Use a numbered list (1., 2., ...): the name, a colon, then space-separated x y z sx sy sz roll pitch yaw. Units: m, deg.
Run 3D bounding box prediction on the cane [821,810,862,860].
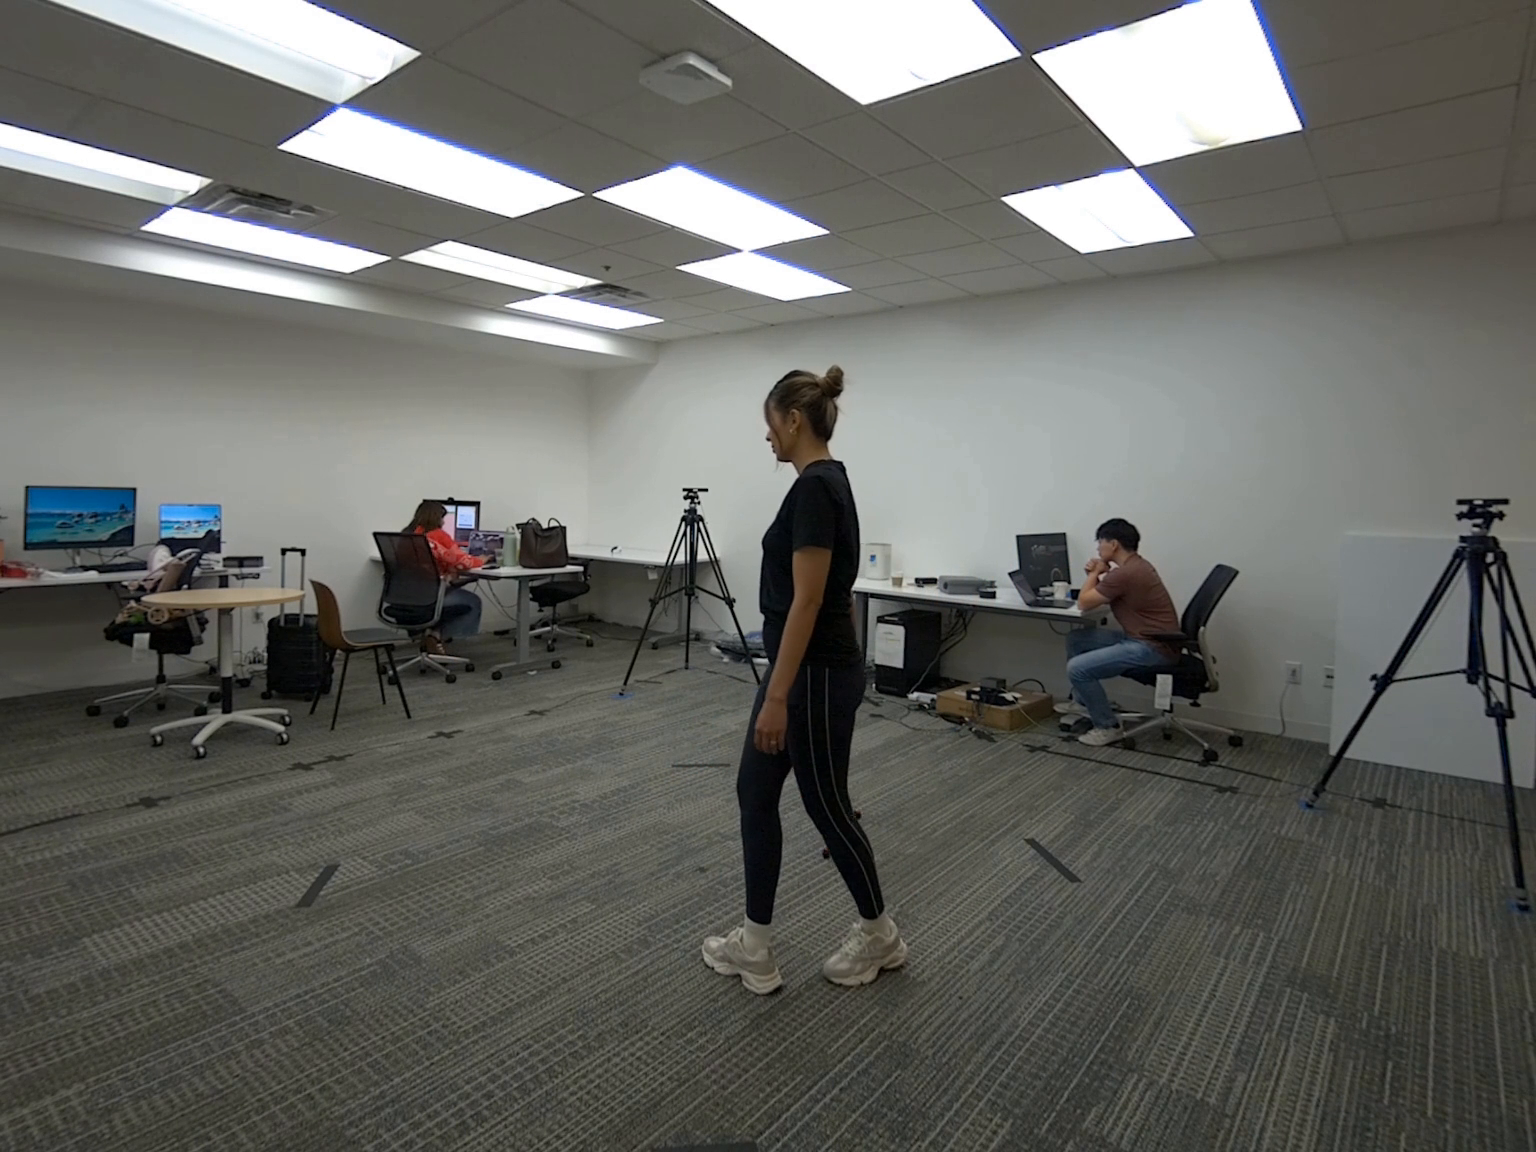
1. cane: 0.274 0.660 3.028 0.153 0.882 0.211 4 39 5
